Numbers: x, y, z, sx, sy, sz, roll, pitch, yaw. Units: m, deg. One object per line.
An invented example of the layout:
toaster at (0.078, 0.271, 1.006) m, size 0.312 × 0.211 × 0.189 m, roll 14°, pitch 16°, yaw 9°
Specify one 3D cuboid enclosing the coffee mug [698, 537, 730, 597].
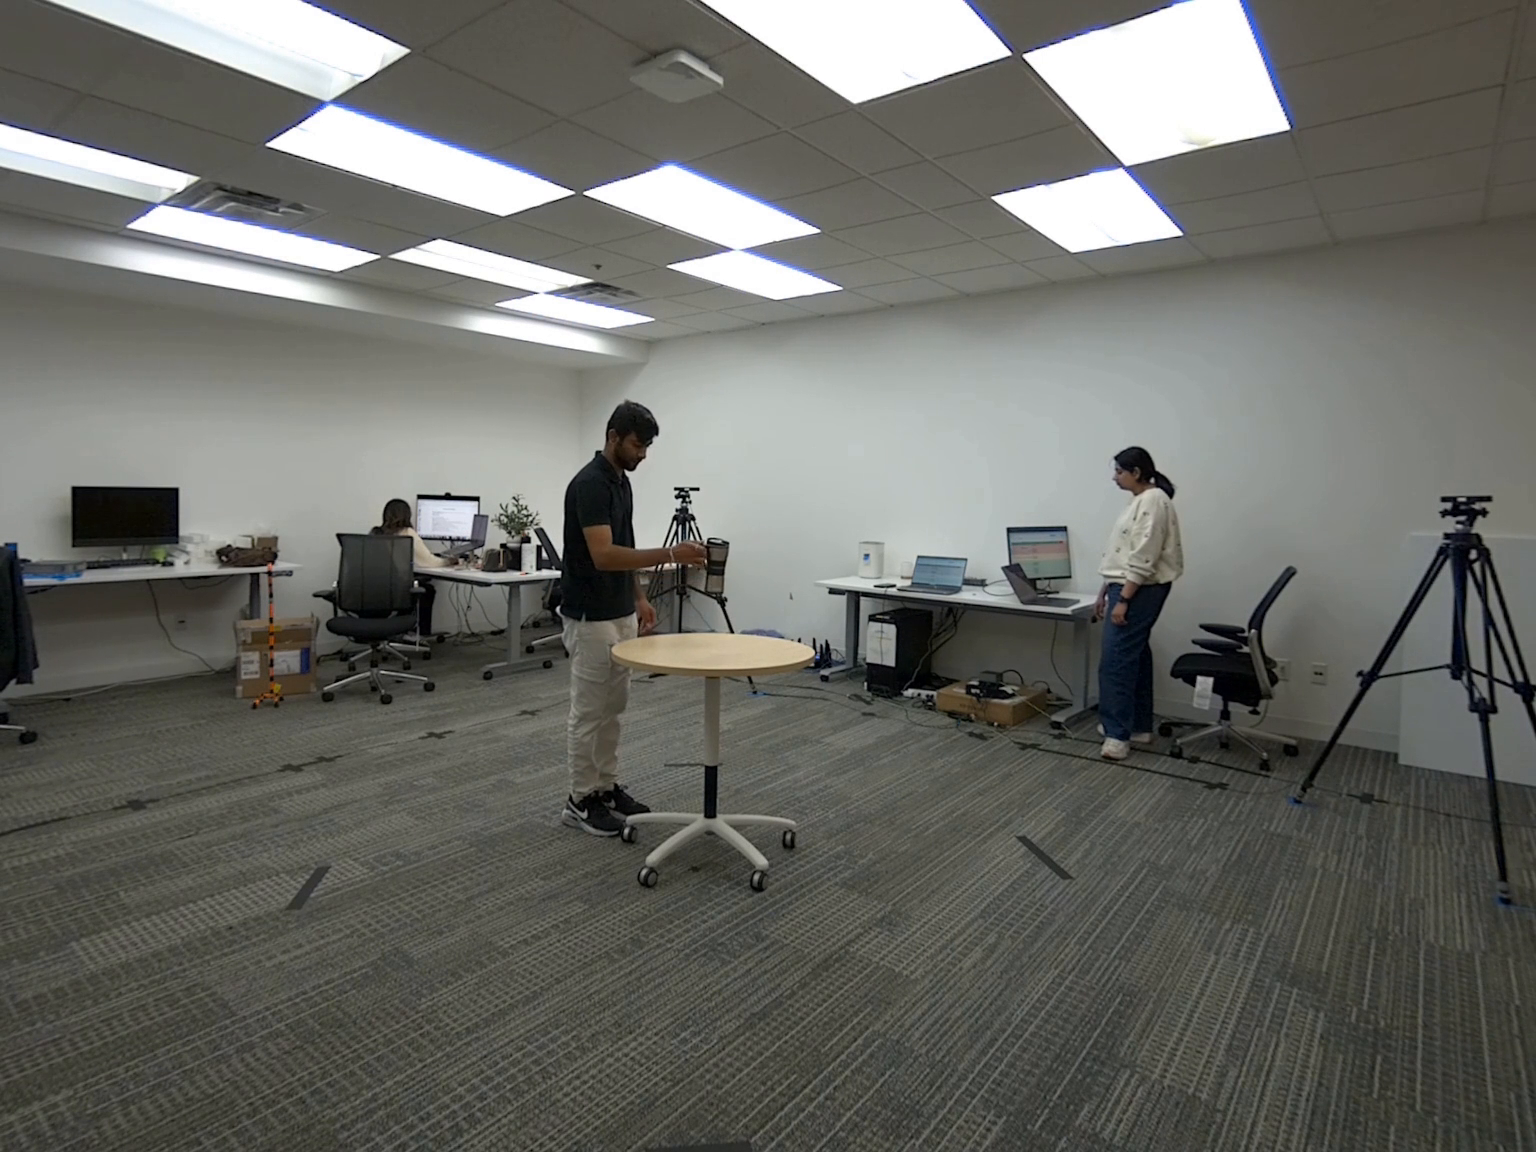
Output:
coffee mug at (-0.220, -0.028, 3.192) m, size 0.126 × 0.201 × 0.085 m, roll 12°, pitch 14°, yaw 43°
